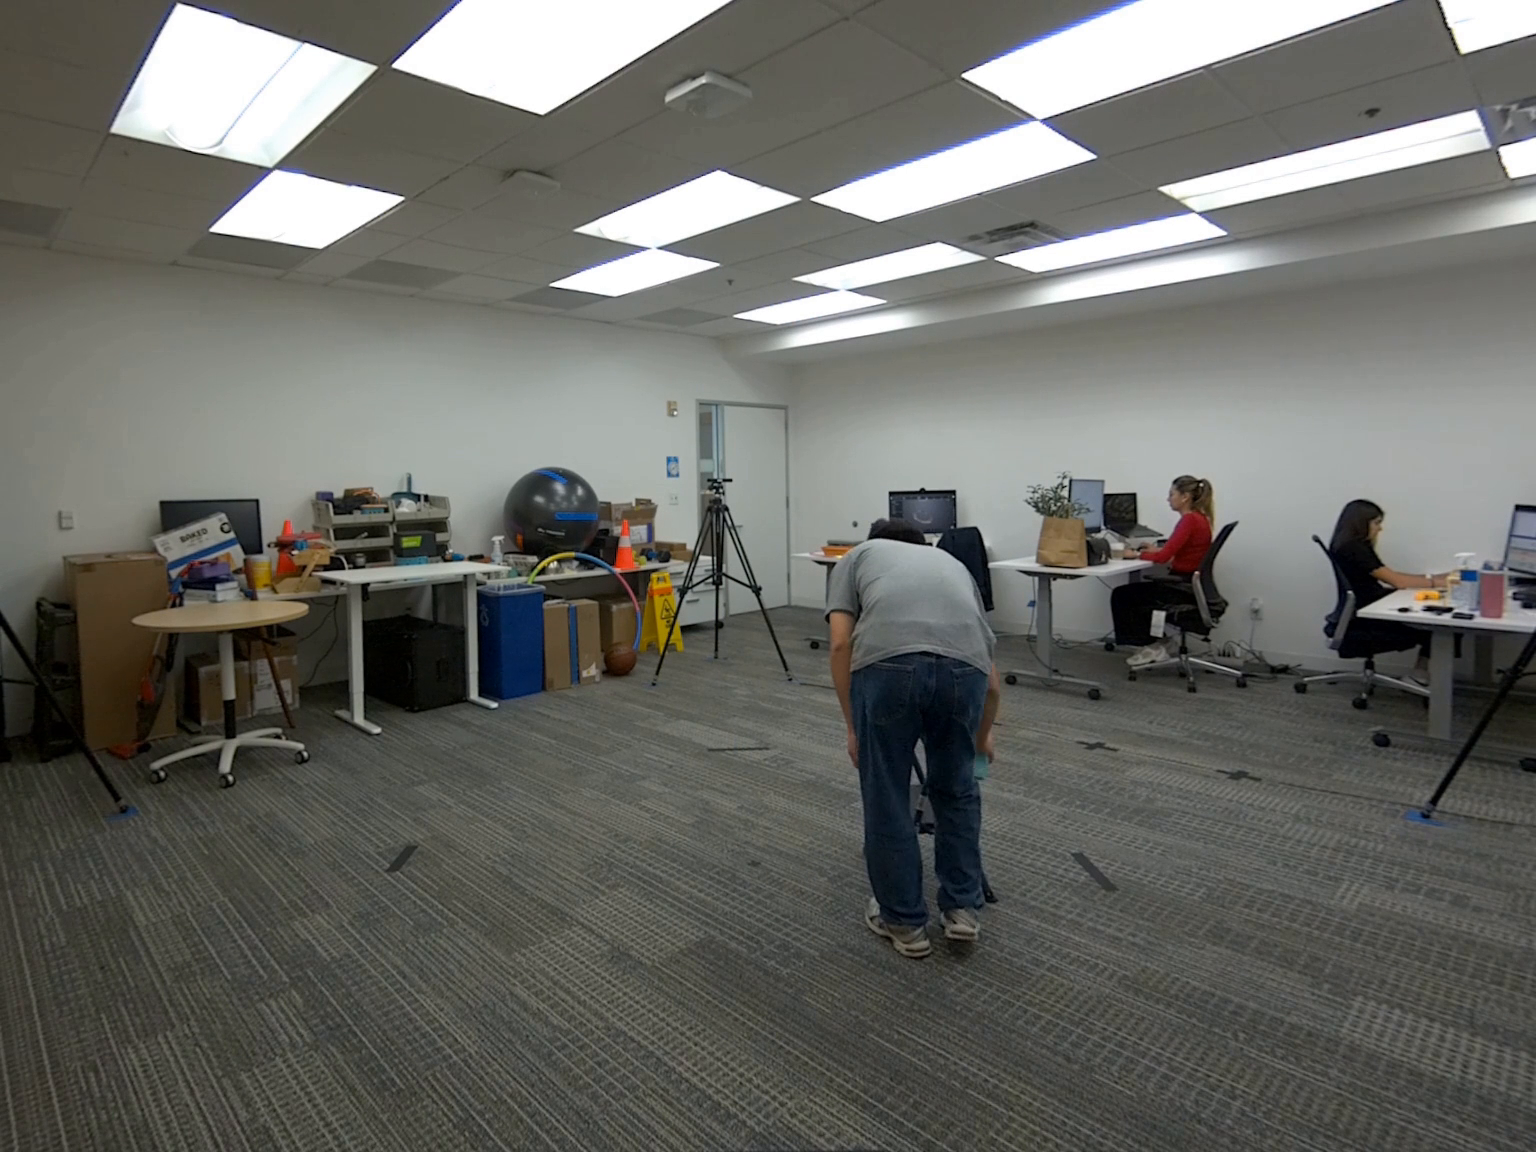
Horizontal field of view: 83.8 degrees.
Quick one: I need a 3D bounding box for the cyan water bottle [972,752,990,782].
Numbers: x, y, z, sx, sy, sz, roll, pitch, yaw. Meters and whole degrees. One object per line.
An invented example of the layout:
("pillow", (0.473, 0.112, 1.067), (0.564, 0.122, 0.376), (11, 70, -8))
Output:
("cyan water bottle", (0.720, 0.554, 2.941), (0.092, 0.288, 0.090), (6, -22, 1))
